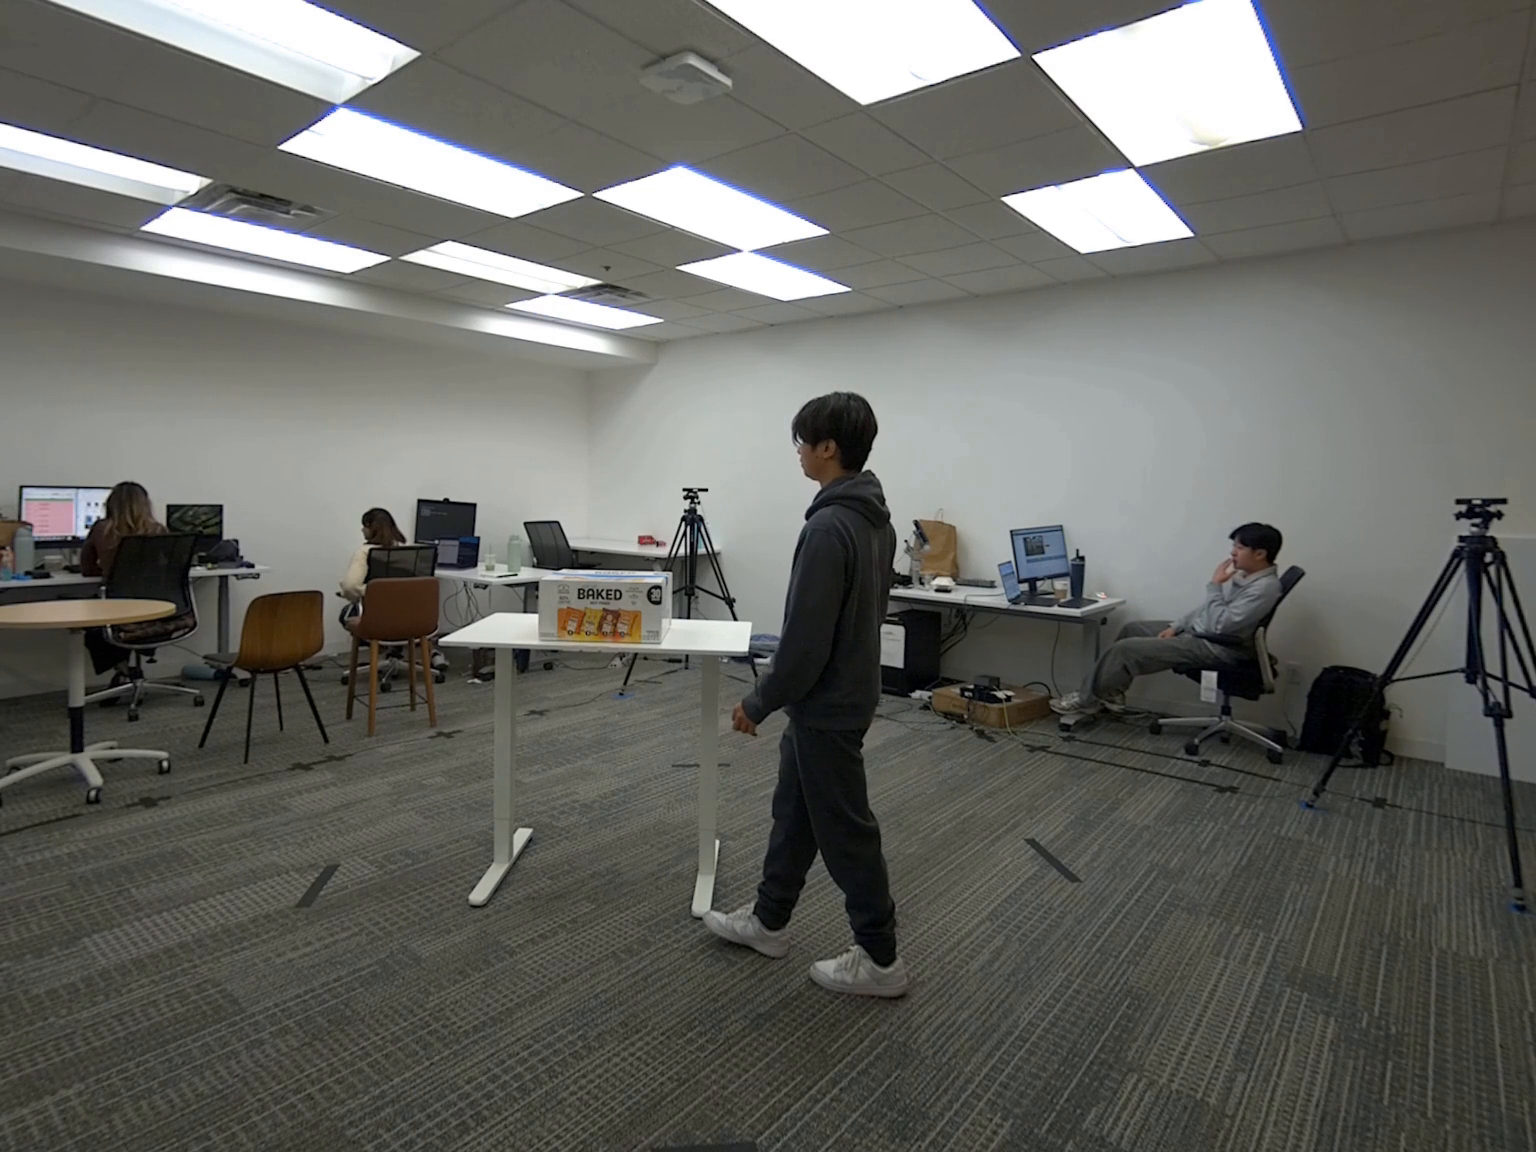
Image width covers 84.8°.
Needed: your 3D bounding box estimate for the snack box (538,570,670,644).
[{"bbox_3d":[-0.562,0.097,2.935,0.406,0.205,0.341,1,6,1],"label":"snack box"}]
